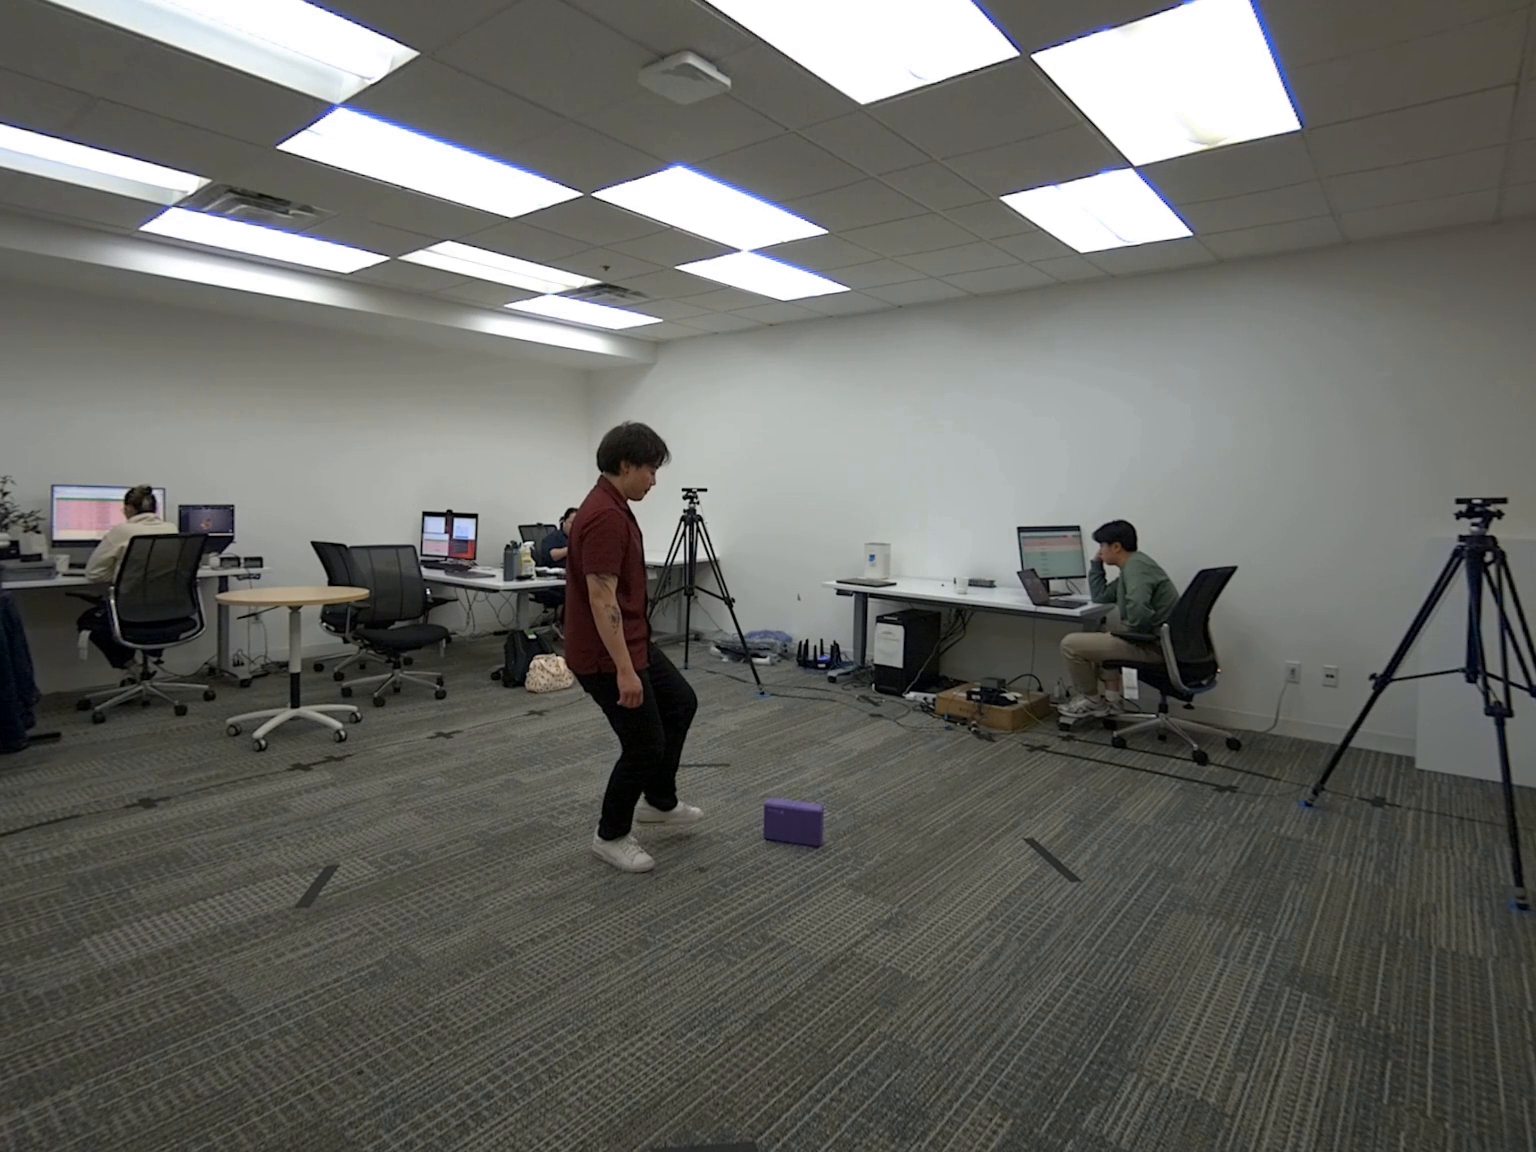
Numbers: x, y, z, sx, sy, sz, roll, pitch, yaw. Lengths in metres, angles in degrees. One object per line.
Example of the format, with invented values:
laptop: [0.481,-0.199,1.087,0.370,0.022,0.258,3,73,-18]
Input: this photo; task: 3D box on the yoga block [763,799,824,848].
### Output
yoga block: [0.091,0.972,3.378,0.233,0.148,0.075,2,3,15]
